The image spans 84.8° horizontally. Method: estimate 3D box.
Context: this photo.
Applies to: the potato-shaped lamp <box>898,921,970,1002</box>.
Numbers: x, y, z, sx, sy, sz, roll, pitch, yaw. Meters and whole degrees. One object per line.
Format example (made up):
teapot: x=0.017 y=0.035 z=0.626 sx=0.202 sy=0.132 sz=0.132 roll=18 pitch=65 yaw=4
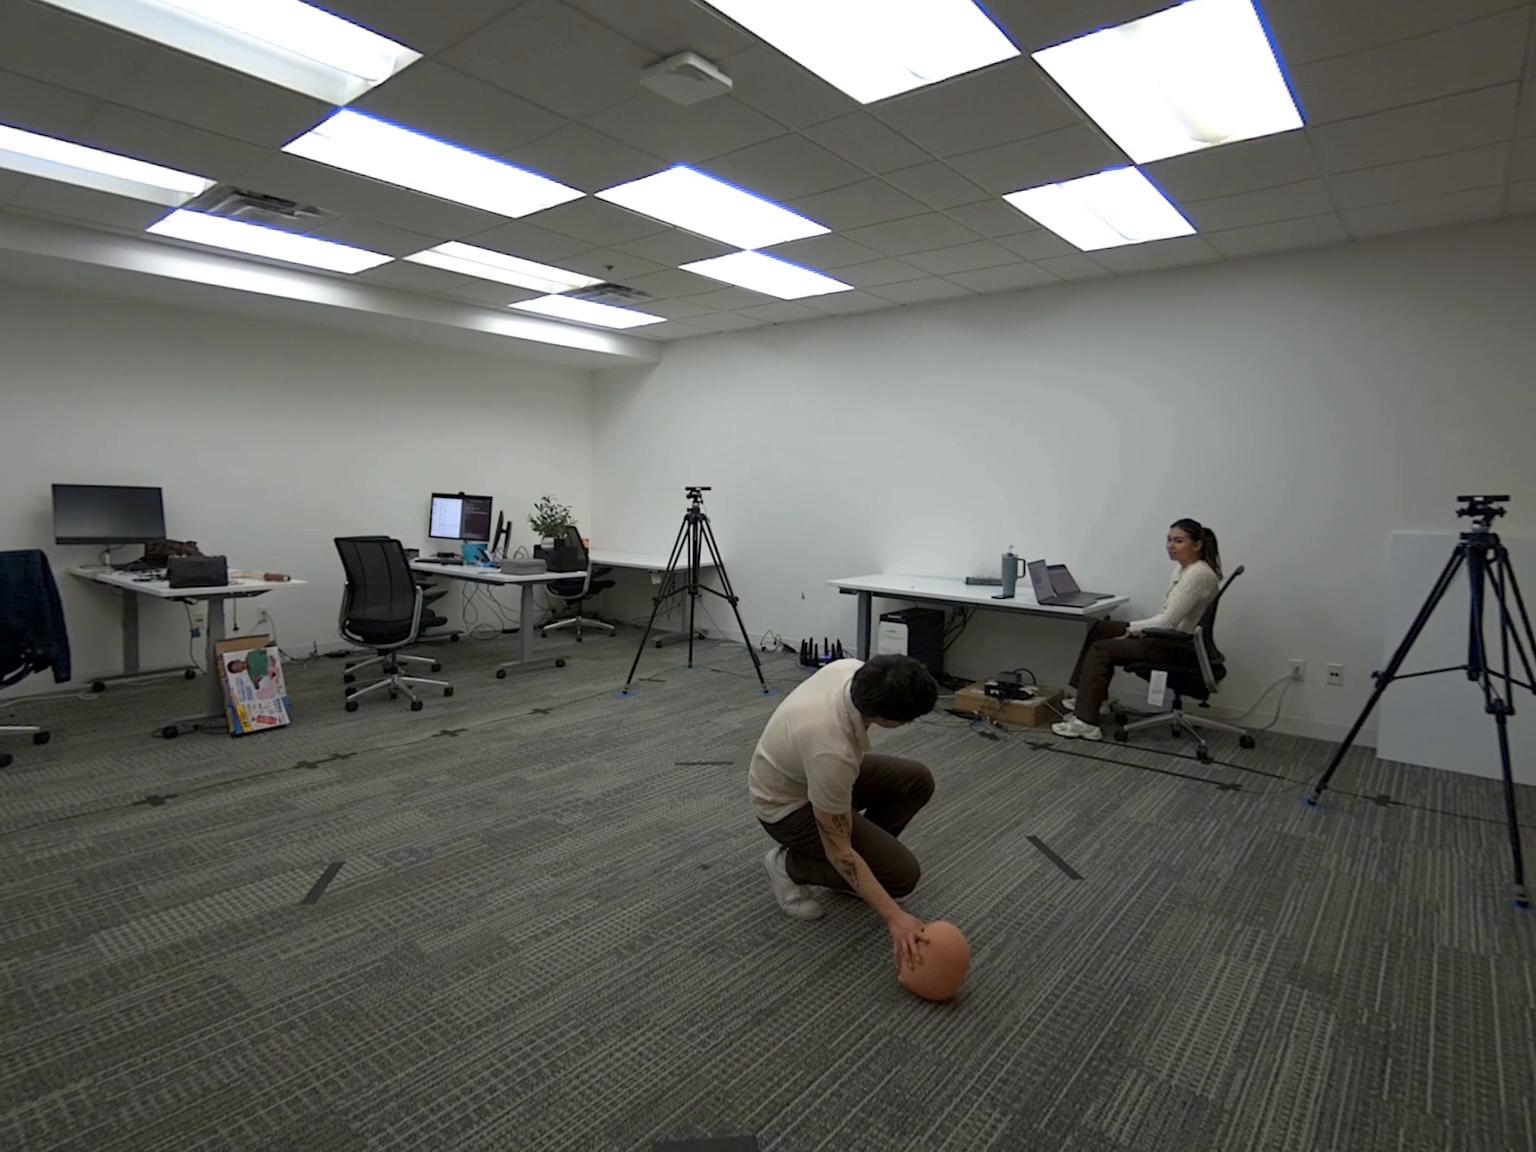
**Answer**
potato-shaped lamp: x=0.466 y=1.050 z=2.358 sx=0.177 sy=0.196 sz=0.161 roll=15 pitch=13 yaw=26
